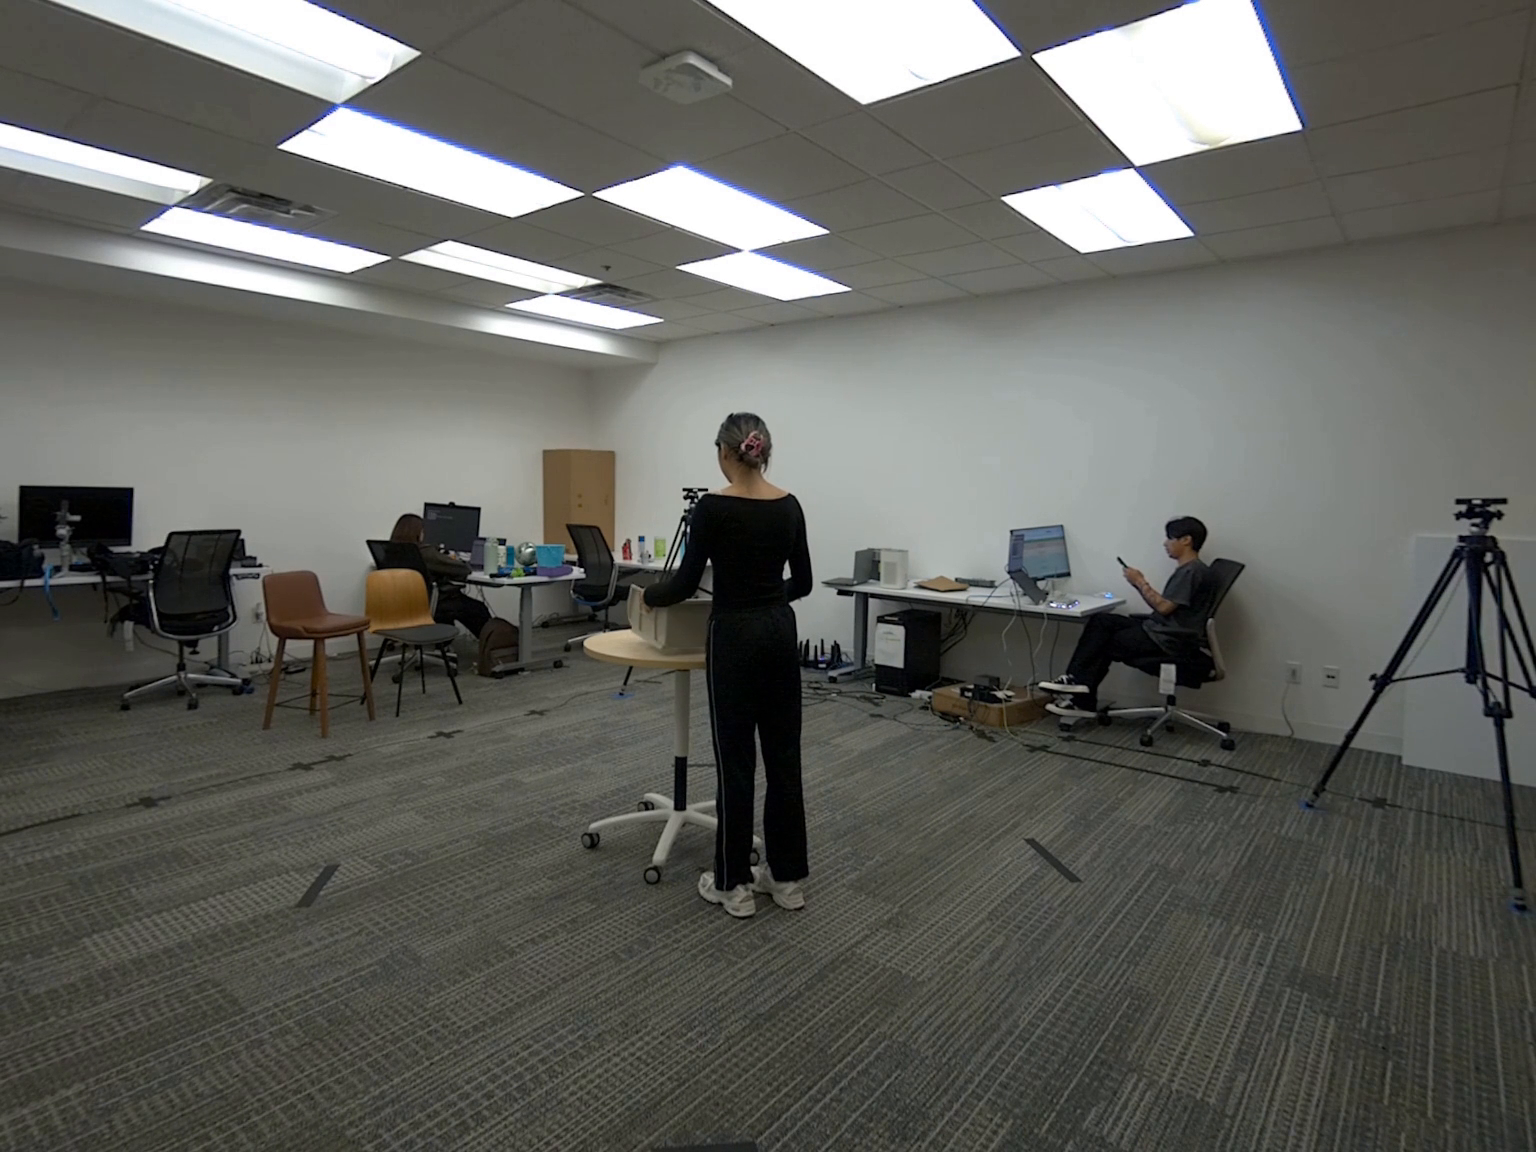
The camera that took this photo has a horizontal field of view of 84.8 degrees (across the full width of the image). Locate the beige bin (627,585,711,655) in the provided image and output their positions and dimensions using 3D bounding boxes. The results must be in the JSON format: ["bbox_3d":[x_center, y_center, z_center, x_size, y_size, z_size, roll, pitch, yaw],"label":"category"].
[{"bbox_3d":[-0.288,0.138,3.220,0.411,0.188,0.390,1,9,-27],"label":"beige bin"}]
